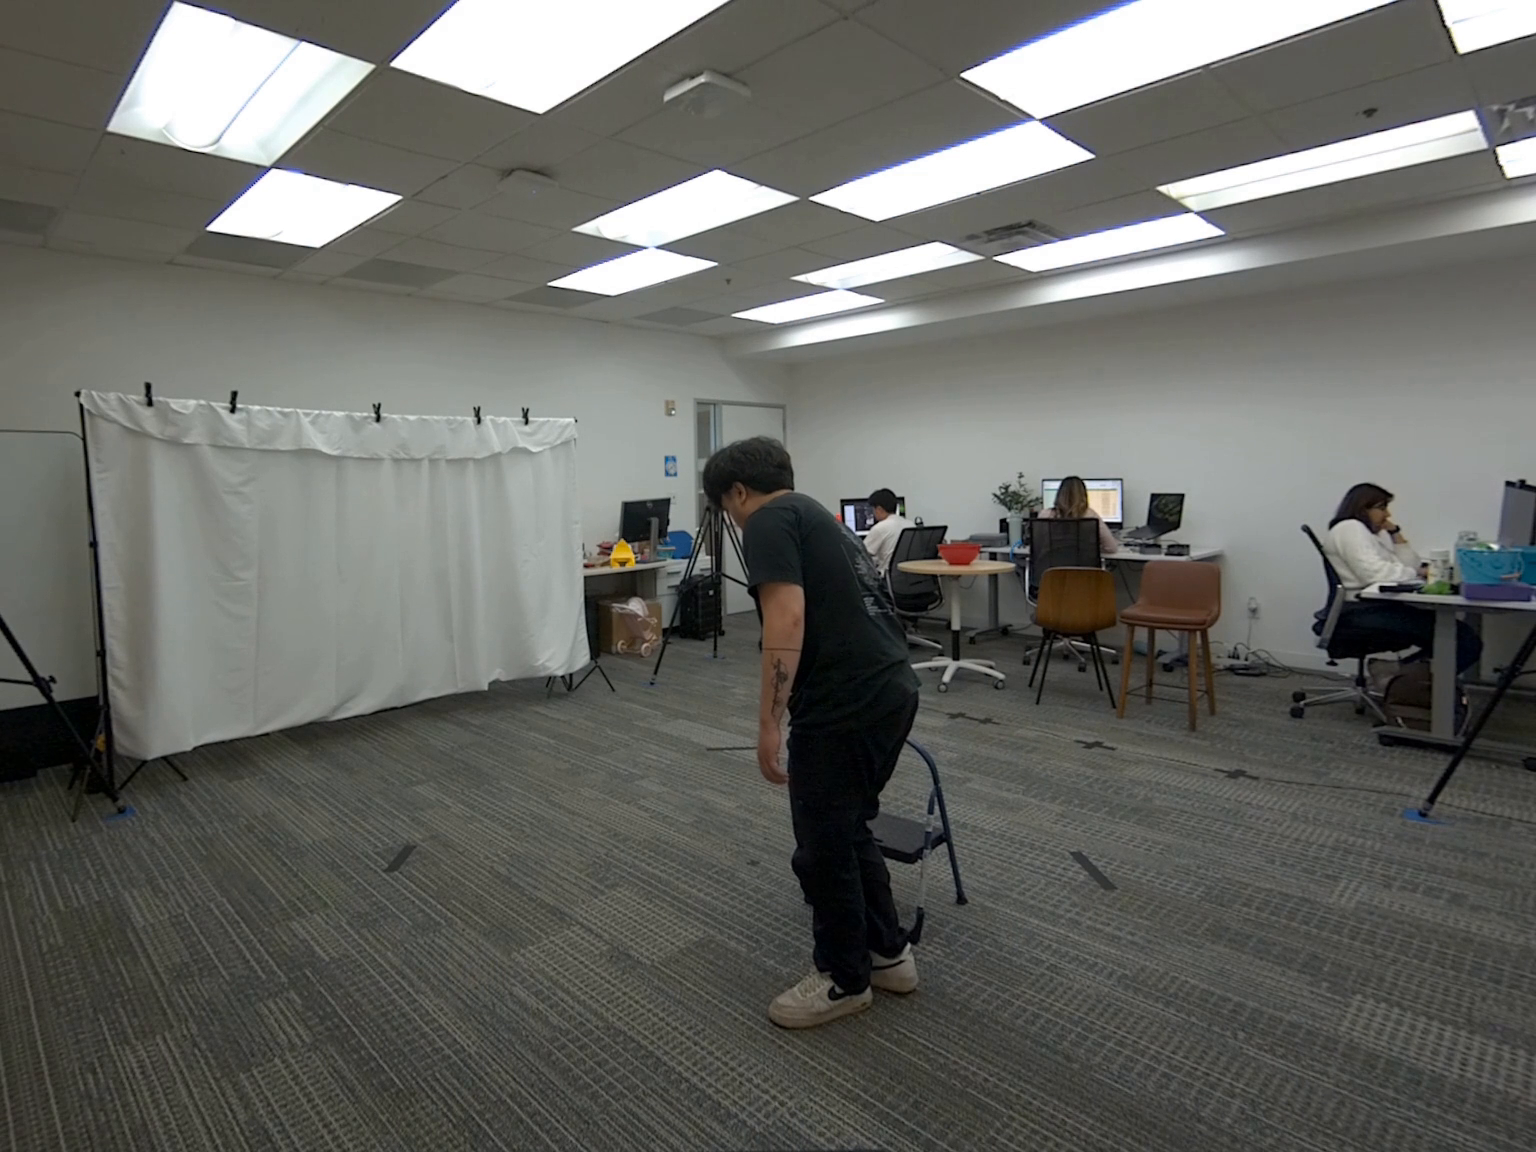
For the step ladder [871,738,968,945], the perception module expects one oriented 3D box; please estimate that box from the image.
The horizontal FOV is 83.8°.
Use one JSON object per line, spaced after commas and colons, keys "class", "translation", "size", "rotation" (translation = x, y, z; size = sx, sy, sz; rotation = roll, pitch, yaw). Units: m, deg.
{"class": "step ladder", "translation": [0.384, 0.767, 2.786], "size": [0.443, 0.604, 0.340], "rotation": [3, 6, 38]}
